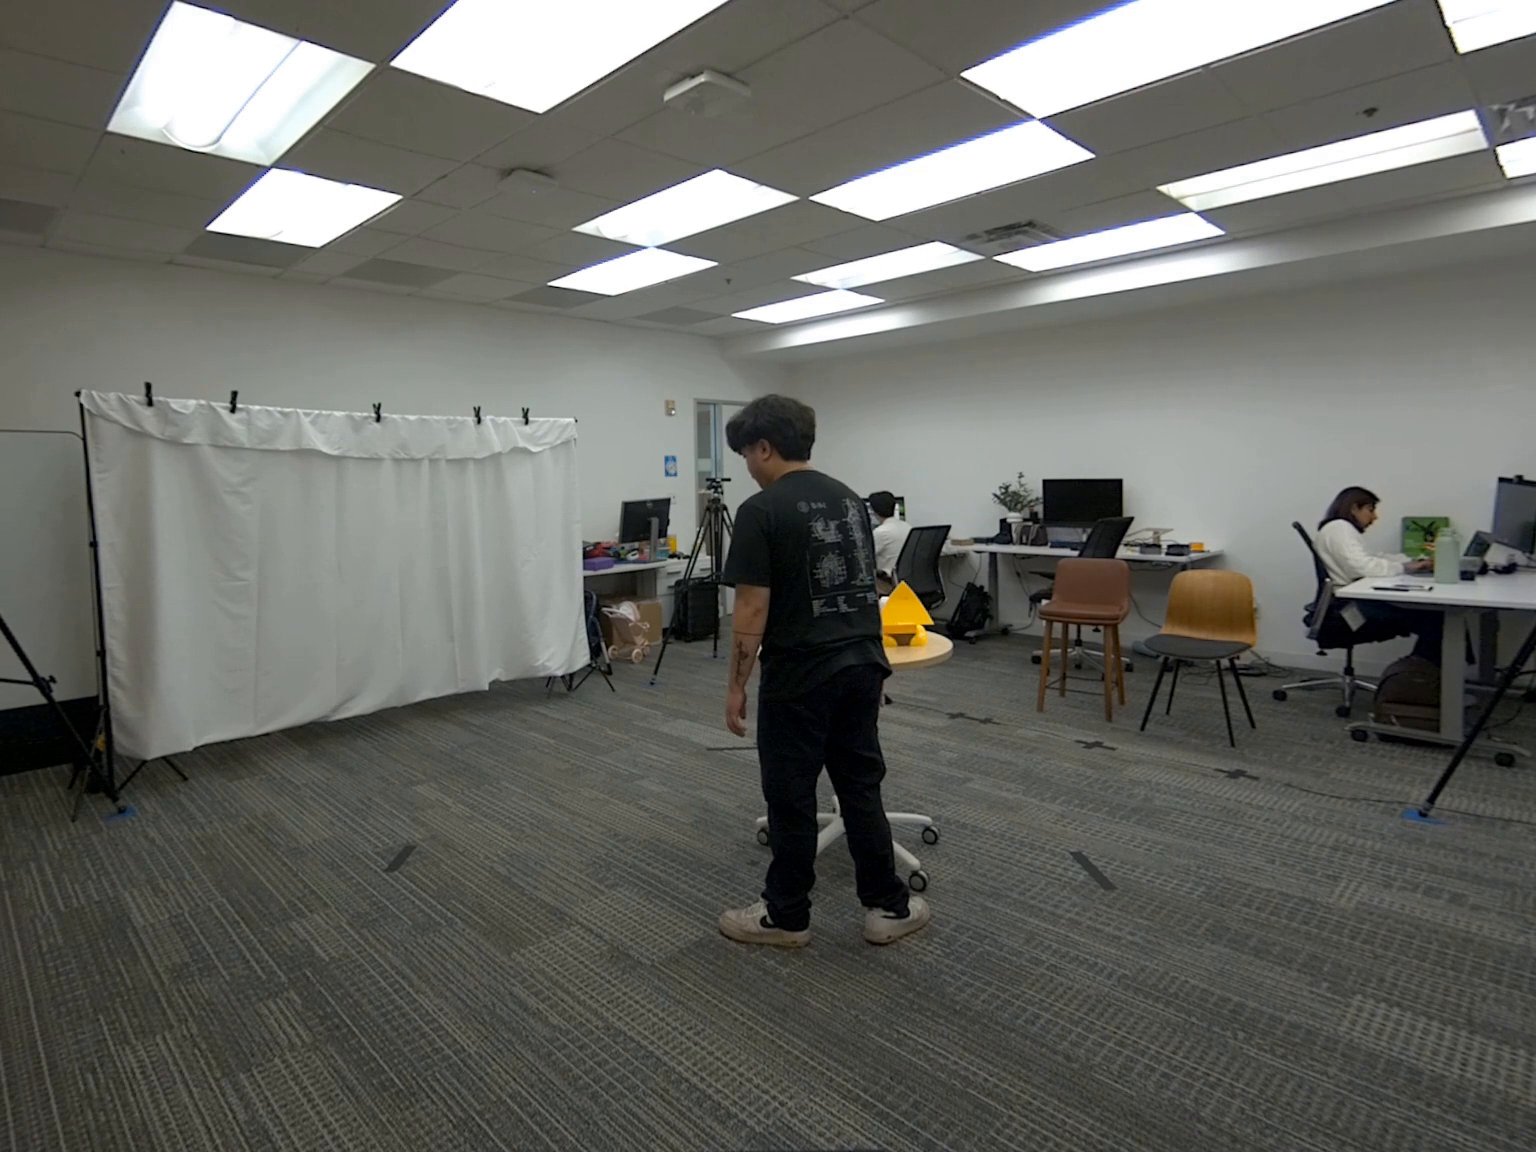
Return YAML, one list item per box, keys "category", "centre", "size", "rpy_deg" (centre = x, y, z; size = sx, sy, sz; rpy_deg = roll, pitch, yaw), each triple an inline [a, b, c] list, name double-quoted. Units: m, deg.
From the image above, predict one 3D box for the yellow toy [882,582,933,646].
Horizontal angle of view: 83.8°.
- category: "yellow toy"
  centre: [0.476, 0.125, 3.089]
  size: [0.204, 0.230, 0.194]
  rpy_deg: [-2, 5, -4]
